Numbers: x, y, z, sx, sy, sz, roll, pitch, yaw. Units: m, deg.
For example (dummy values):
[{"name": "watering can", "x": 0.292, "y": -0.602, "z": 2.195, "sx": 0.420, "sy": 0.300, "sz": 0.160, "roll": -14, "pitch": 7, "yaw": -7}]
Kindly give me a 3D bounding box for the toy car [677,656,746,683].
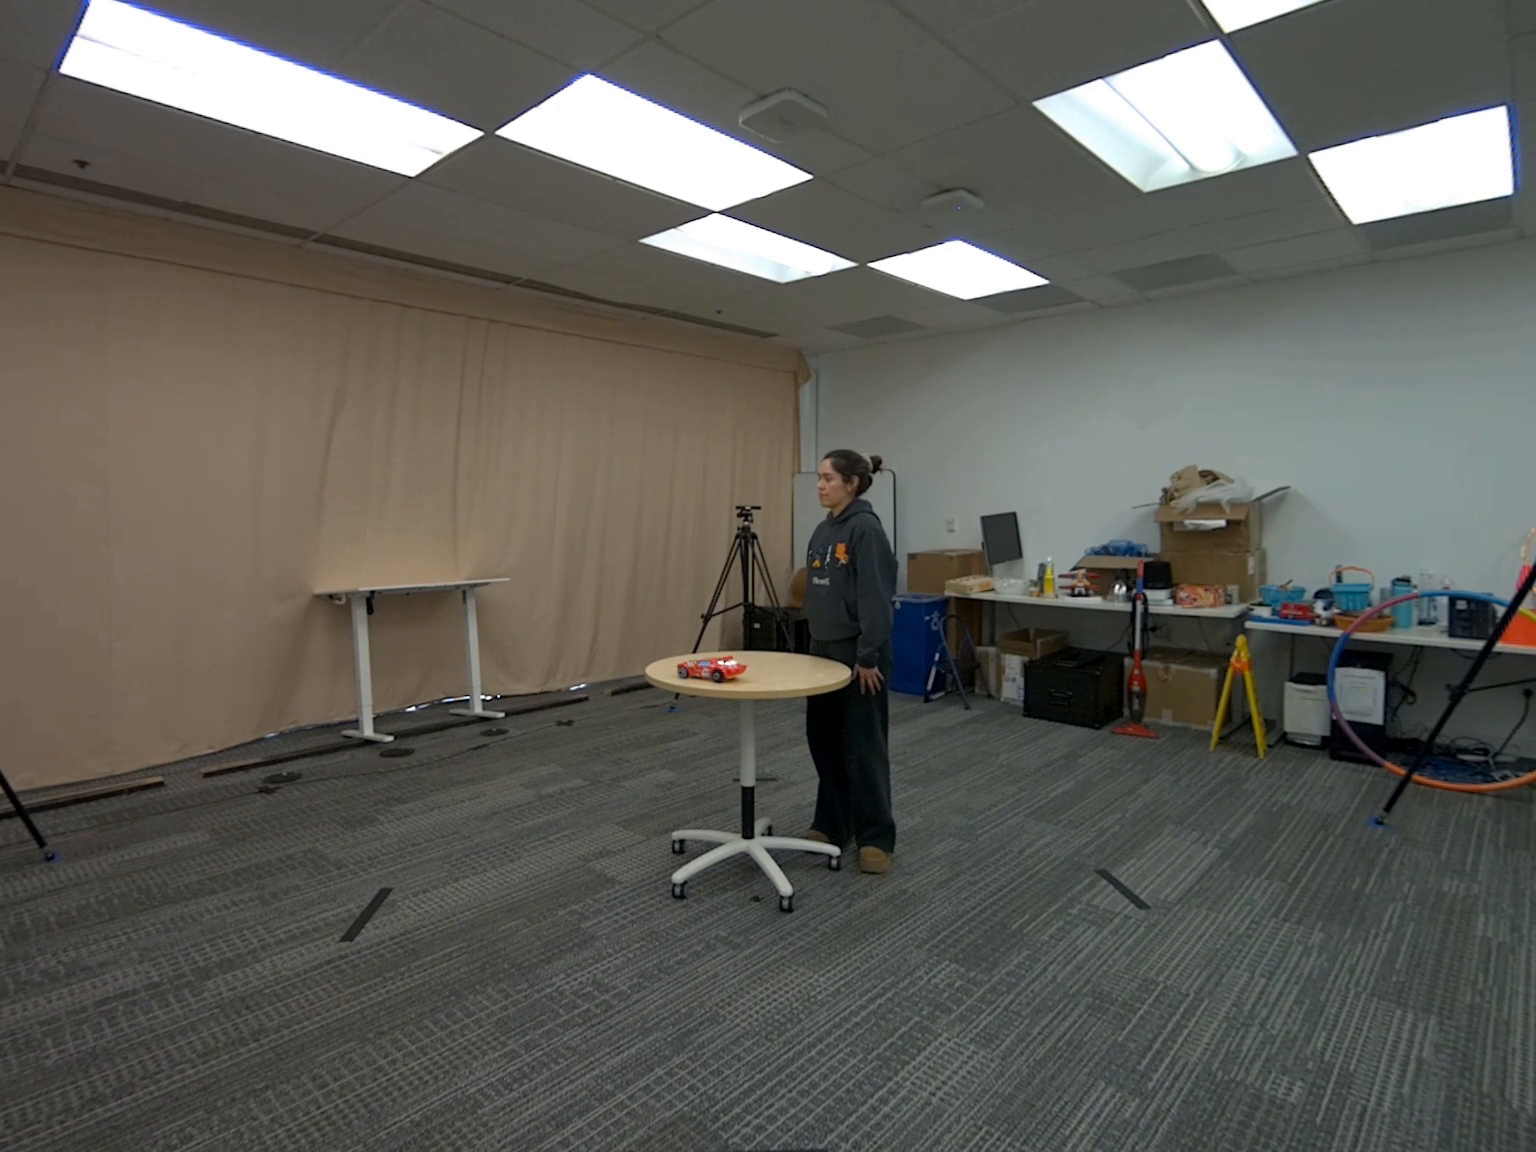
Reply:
[{"name": "toy car", "x": -0.175, "y": 0.332, "z": 2.961, "sx": 0.261, "sy": 0.083, "sz": 0.127, "roll": -11, "pitch": -2, "yaw": 30}]
